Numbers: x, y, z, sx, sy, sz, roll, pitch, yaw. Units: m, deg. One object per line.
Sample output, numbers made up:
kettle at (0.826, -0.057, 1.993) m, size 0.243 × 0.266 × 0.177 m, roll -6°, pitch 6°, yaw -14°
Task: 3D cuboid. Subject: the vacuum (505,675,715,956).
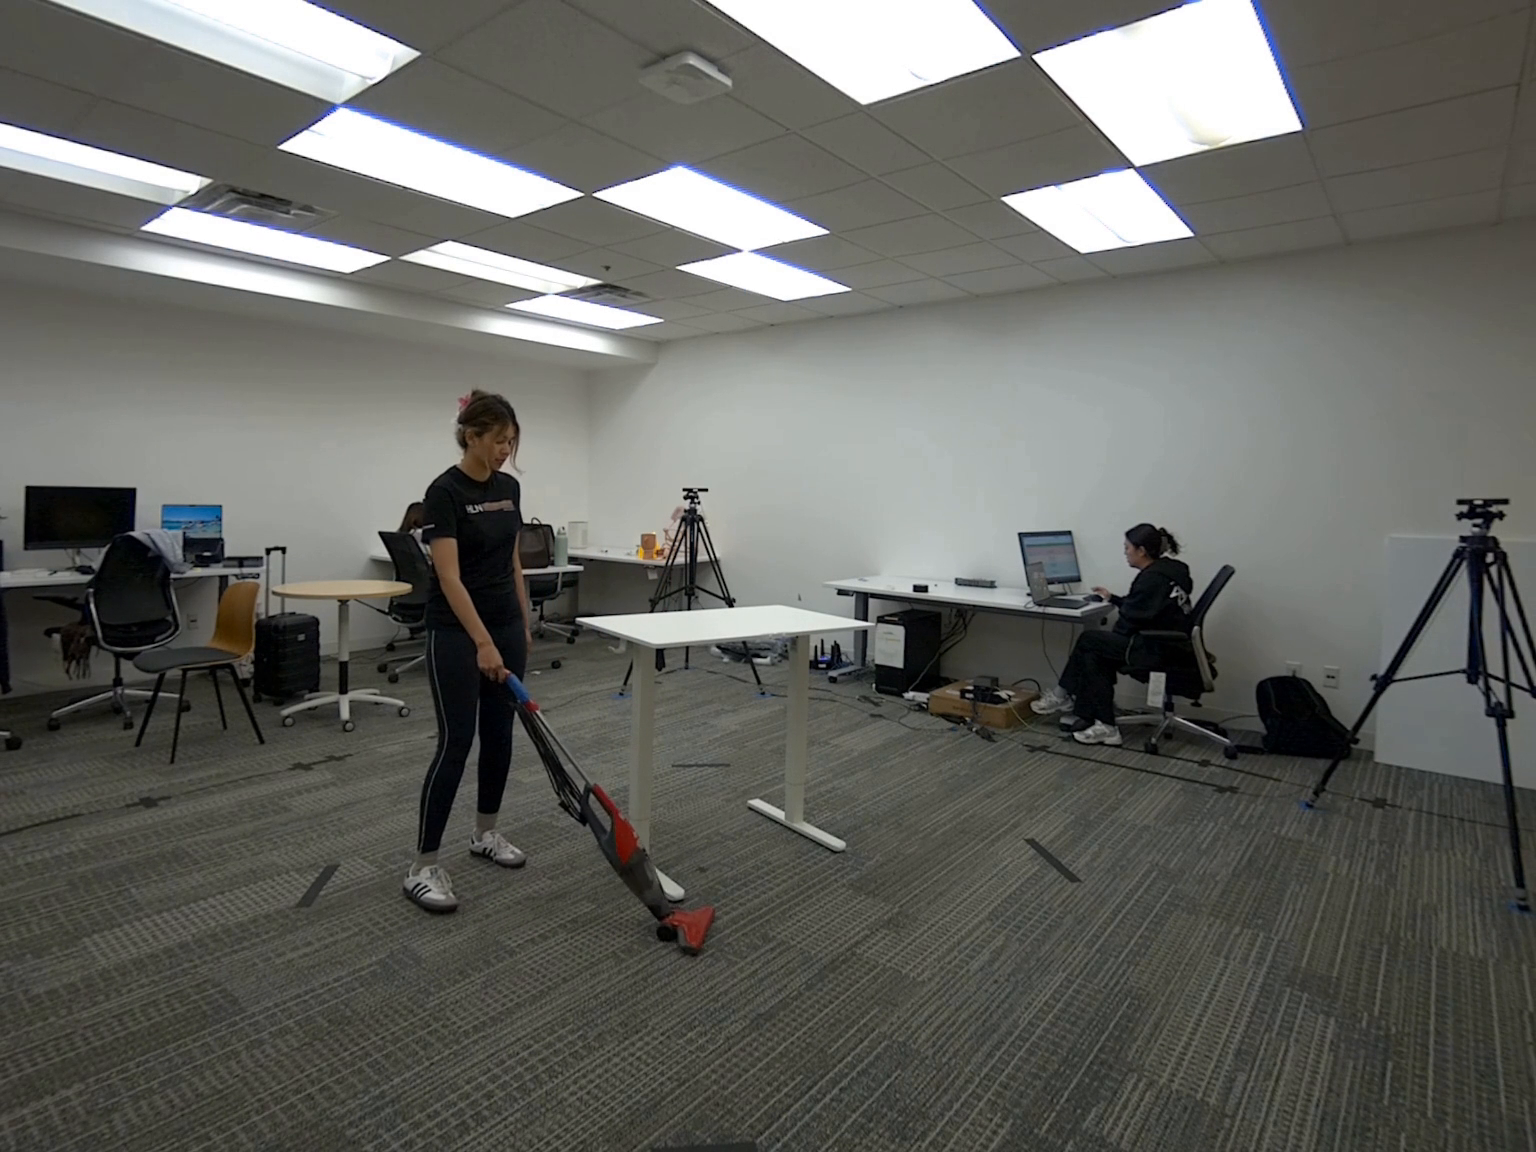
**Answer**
vacuum at (-0.594, 0.694, 2.713) m, size 0.144 × 1.059 × 0.249 m, roll -41°, pitch -6°, yaw 14°
